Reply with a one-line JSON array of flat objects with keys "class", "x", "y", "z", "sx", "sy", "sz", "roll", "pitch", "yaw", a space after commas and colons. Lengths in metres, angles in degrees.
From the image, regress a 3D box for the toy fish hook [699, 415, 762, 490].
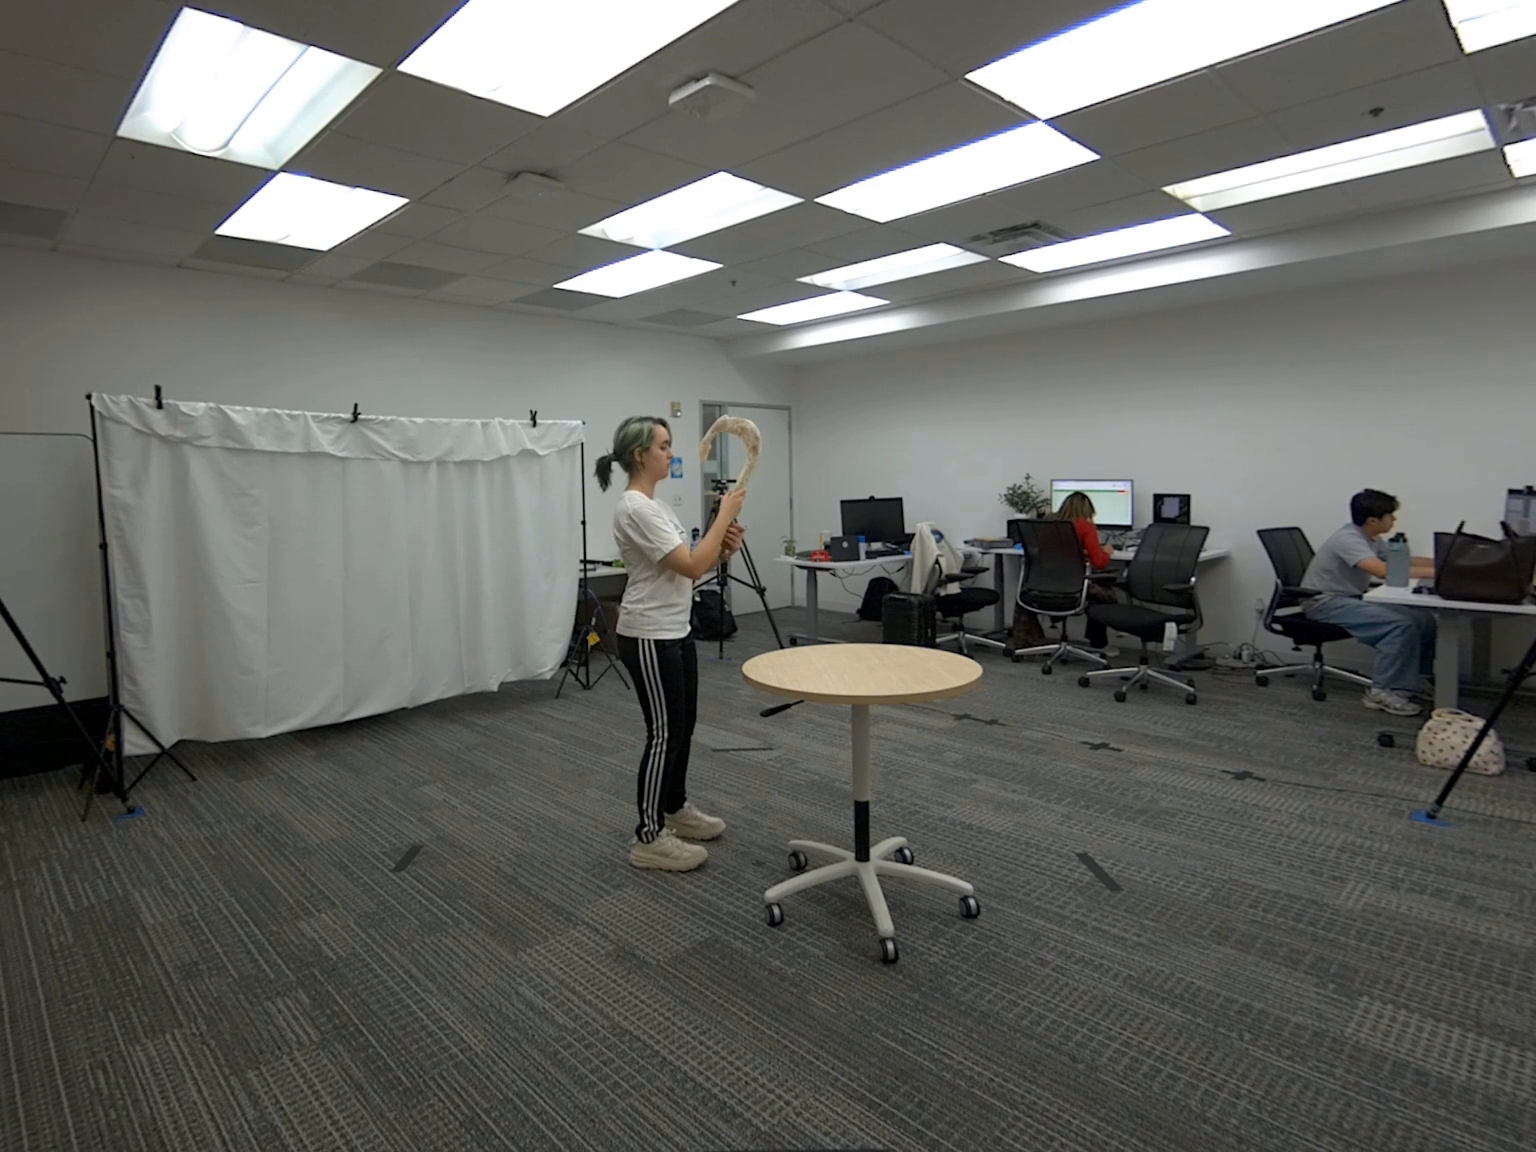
[{"class": "toy fish hook", "x": -0.172, "y": -0.338, "z": 3.156, "sx": 0.224, "sy": 0.505, "sz": 0.048, "roll": 10, "pitch": 3, "yaw": 0}]
